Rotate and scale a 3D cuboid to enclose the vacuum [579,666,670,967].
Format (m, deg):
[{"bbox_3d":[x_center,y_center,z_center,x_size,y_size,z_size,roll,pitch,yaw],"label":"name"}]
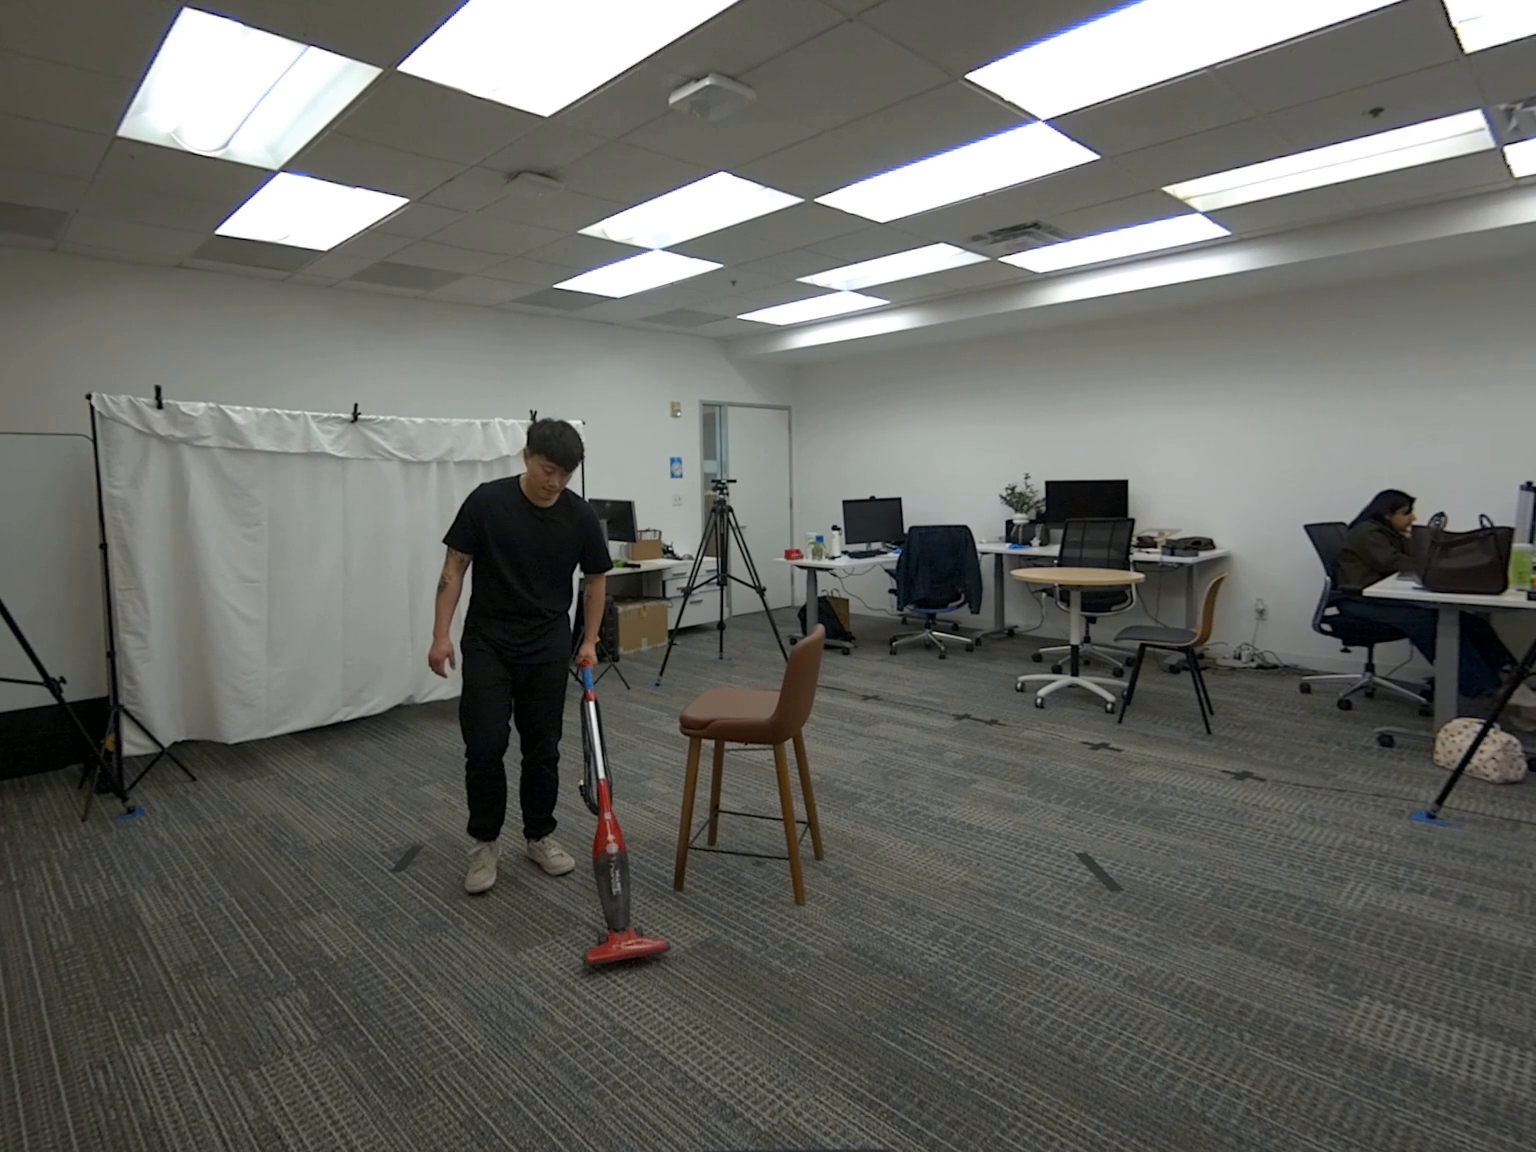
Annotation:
[{"bbox_3d":[-0.560,0.714,2.837,0.248,0.141,1.086,-4,49,-19],"label":"vacuum"}]
